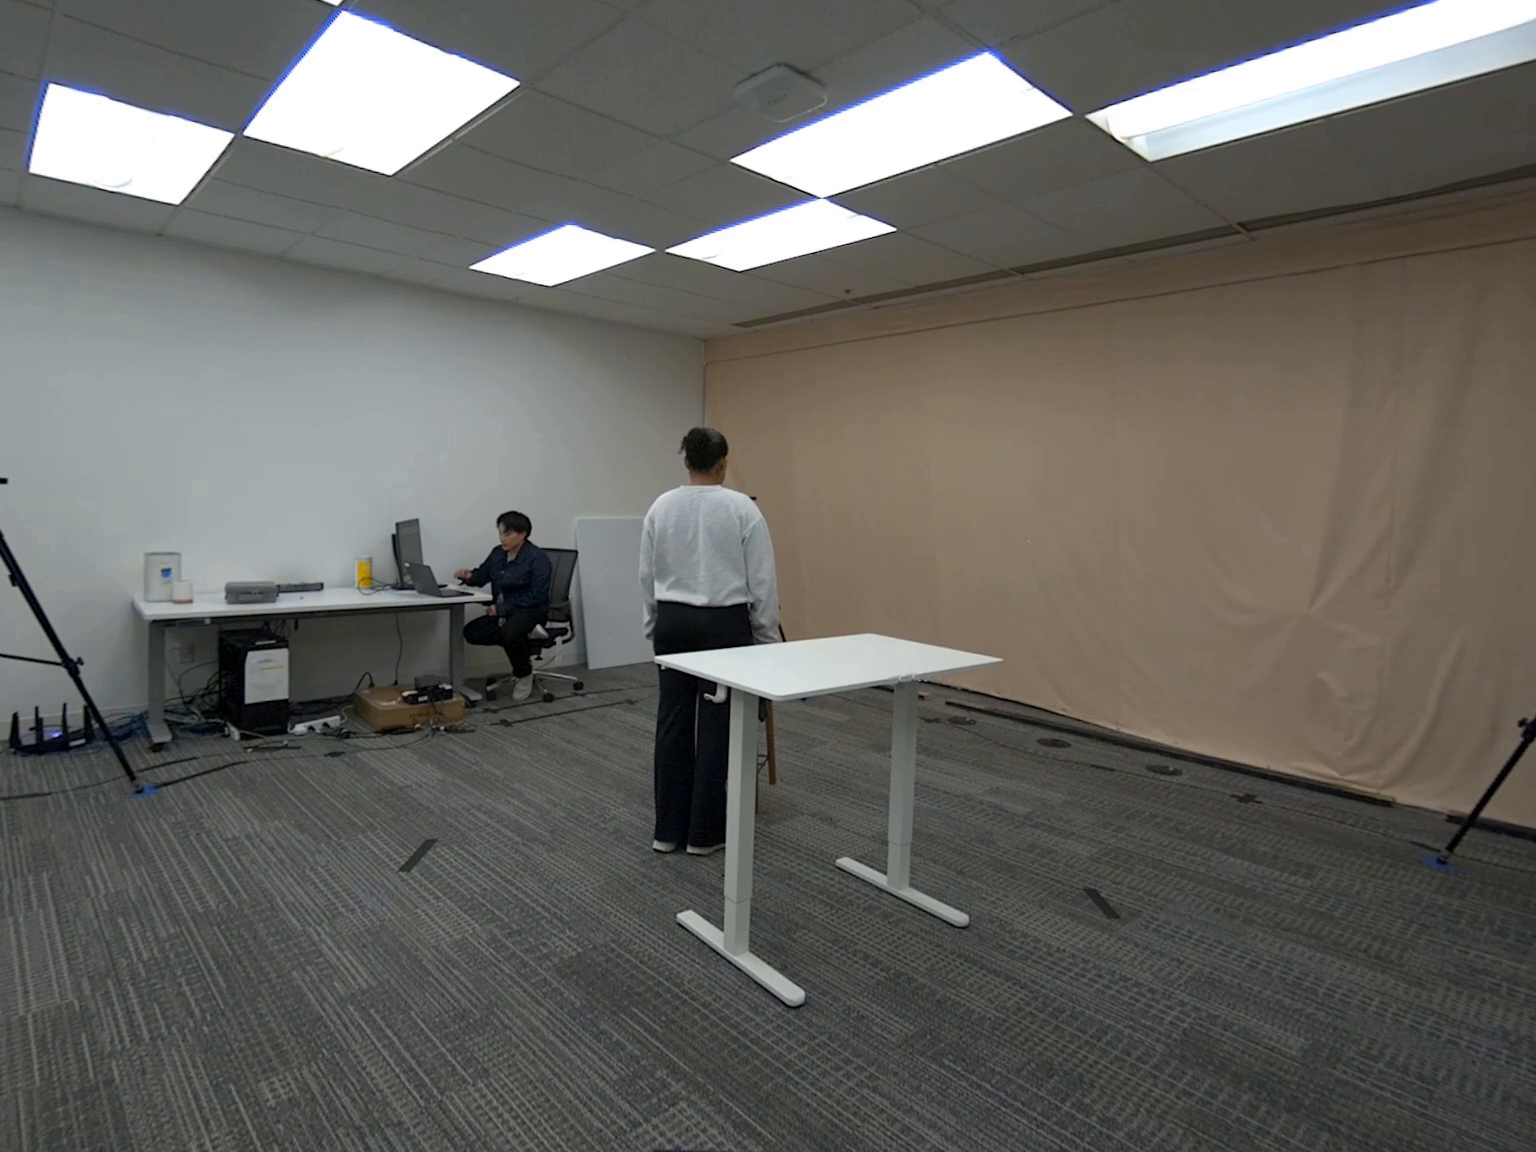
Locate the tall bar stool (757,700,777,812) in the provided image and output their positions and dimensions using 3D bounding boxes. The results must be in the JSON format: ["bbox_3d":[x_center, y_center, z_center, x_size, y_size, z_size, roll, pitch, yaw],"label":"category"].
[{"bbox_3d":[-0.193,0.596,3.951,0.461,0.887,0.465,2,5,11],"label":"tall bar stool"}]
